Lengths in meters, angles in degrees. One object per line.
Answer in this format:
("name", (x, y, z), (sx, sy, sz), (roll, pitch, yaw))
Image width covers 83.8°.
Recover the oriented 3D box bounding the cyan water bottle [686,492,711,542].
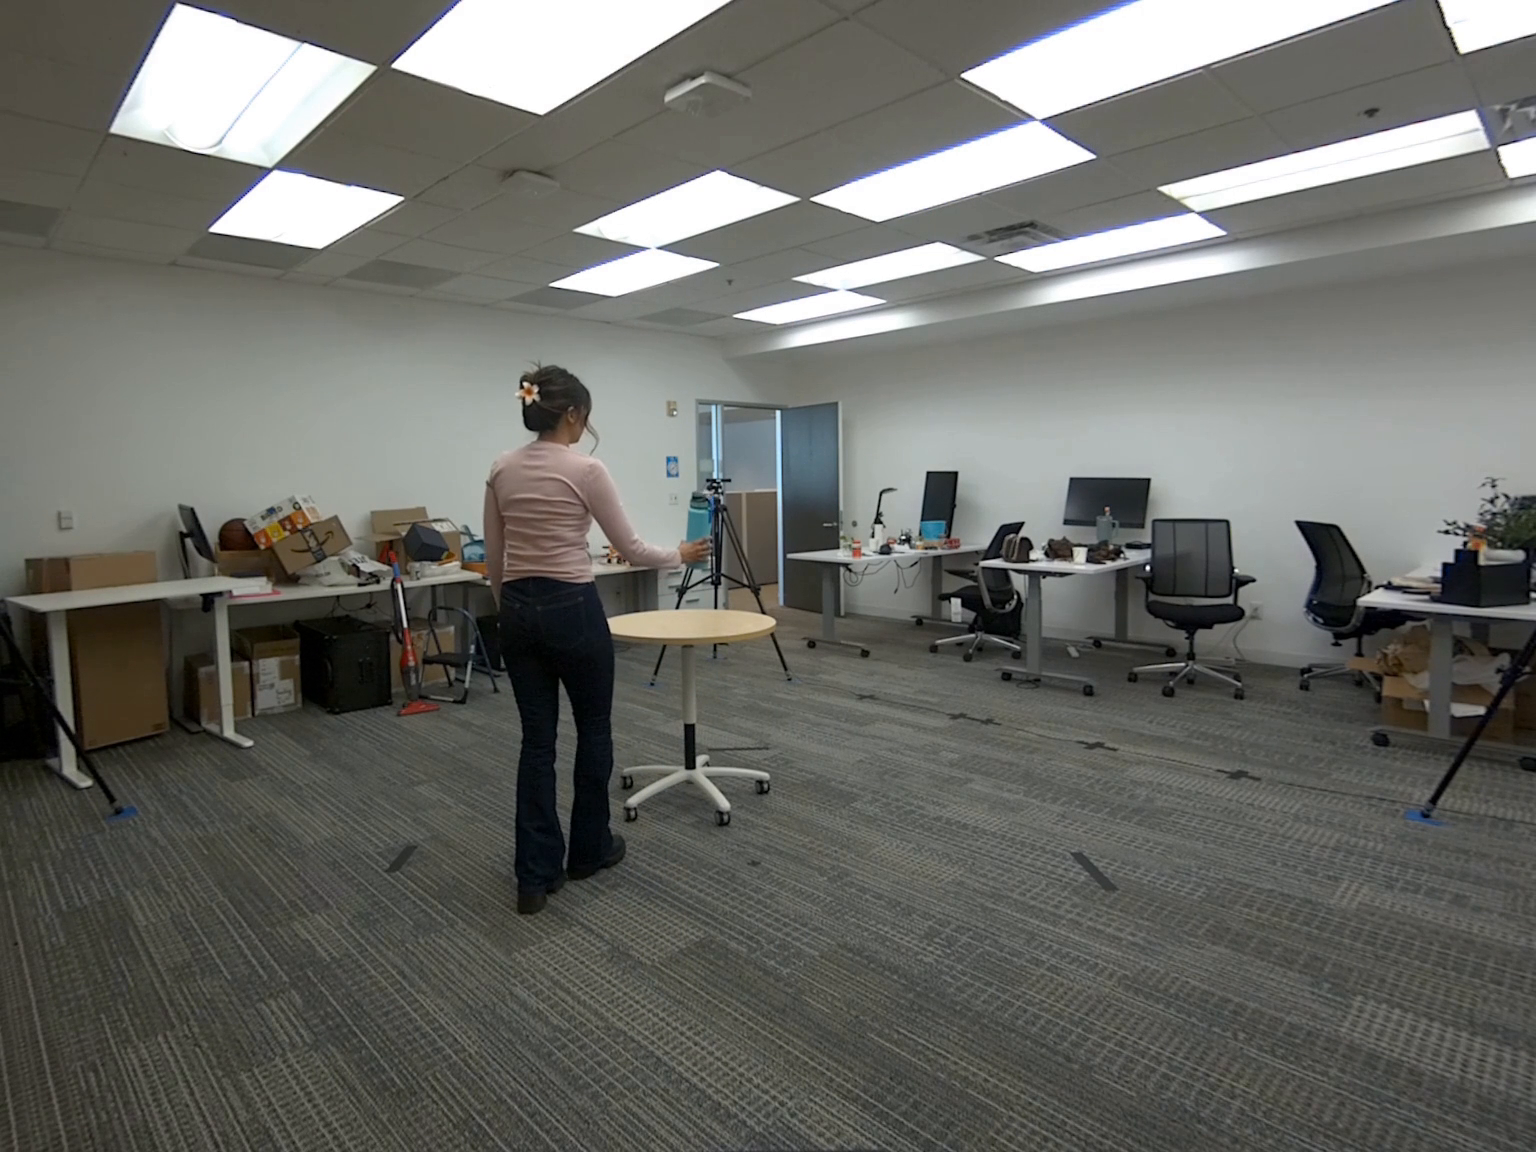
("cyan water bottle", (-0.253, -0.169, 3.155), (0.092, 0.280, 0.093), (5, 12, -3))
